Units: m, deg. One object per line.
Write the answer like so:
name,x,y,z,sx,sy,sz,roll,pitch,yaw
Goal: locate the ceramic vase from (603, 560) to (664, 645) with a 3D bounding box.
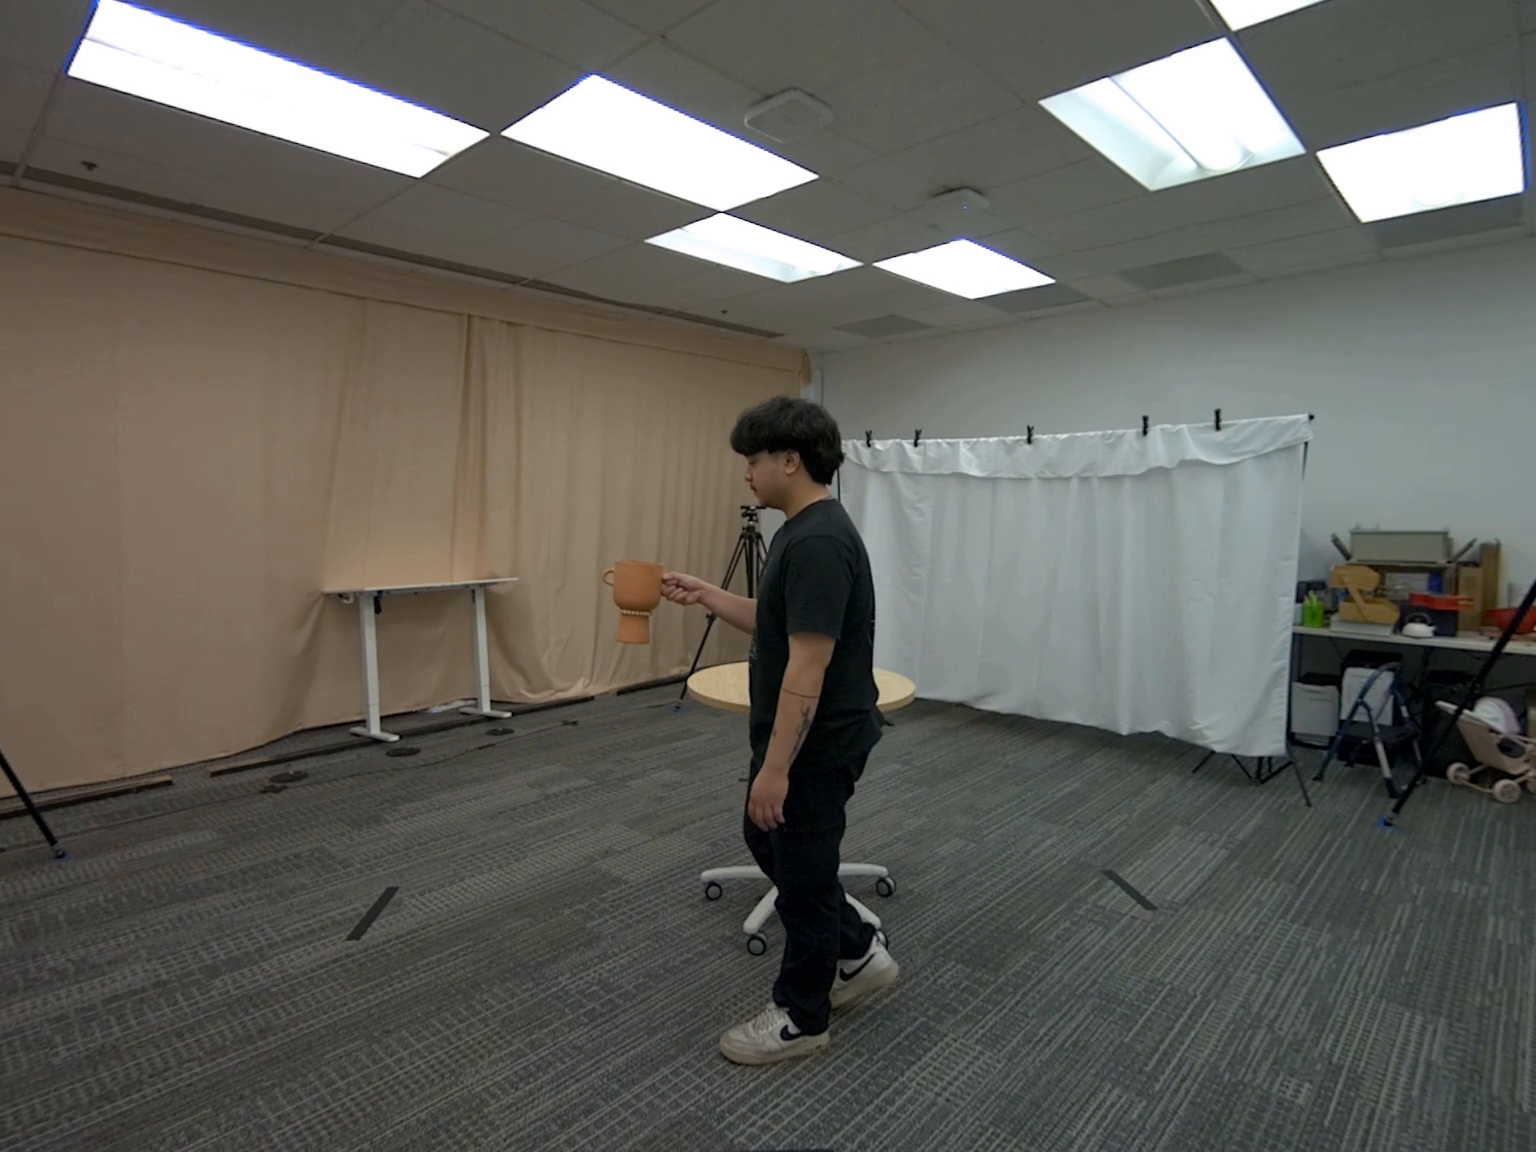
ceramic vase,-0.356,0.072,2.315,0.164,0.220,0.130,5,1,38
